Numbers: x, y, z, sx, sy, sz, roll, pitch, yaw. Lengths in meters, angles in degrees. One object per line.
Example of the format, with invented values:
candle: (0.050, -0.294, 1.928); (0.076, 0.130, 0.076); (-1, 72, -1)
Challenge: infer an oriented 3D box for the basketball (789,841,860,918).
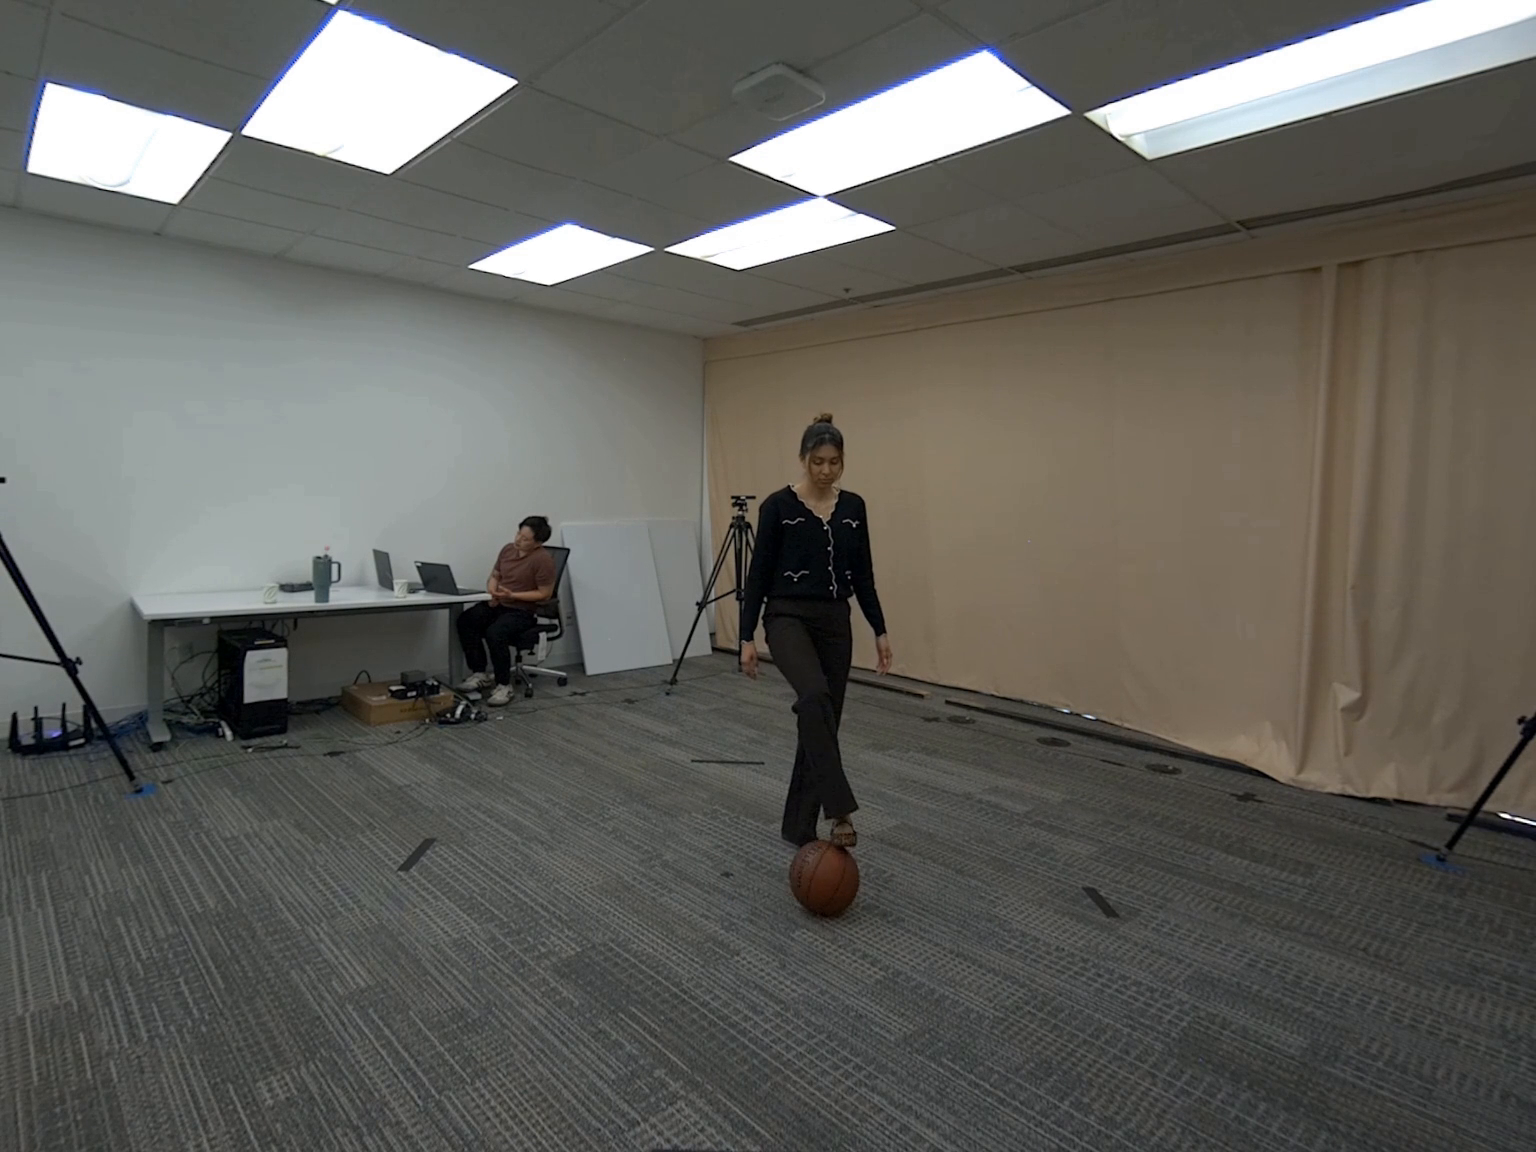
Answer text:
basketball: (0.172, 1.017, 2.838); (0.236, 0.235, 0.237); (1, 4, -1)
